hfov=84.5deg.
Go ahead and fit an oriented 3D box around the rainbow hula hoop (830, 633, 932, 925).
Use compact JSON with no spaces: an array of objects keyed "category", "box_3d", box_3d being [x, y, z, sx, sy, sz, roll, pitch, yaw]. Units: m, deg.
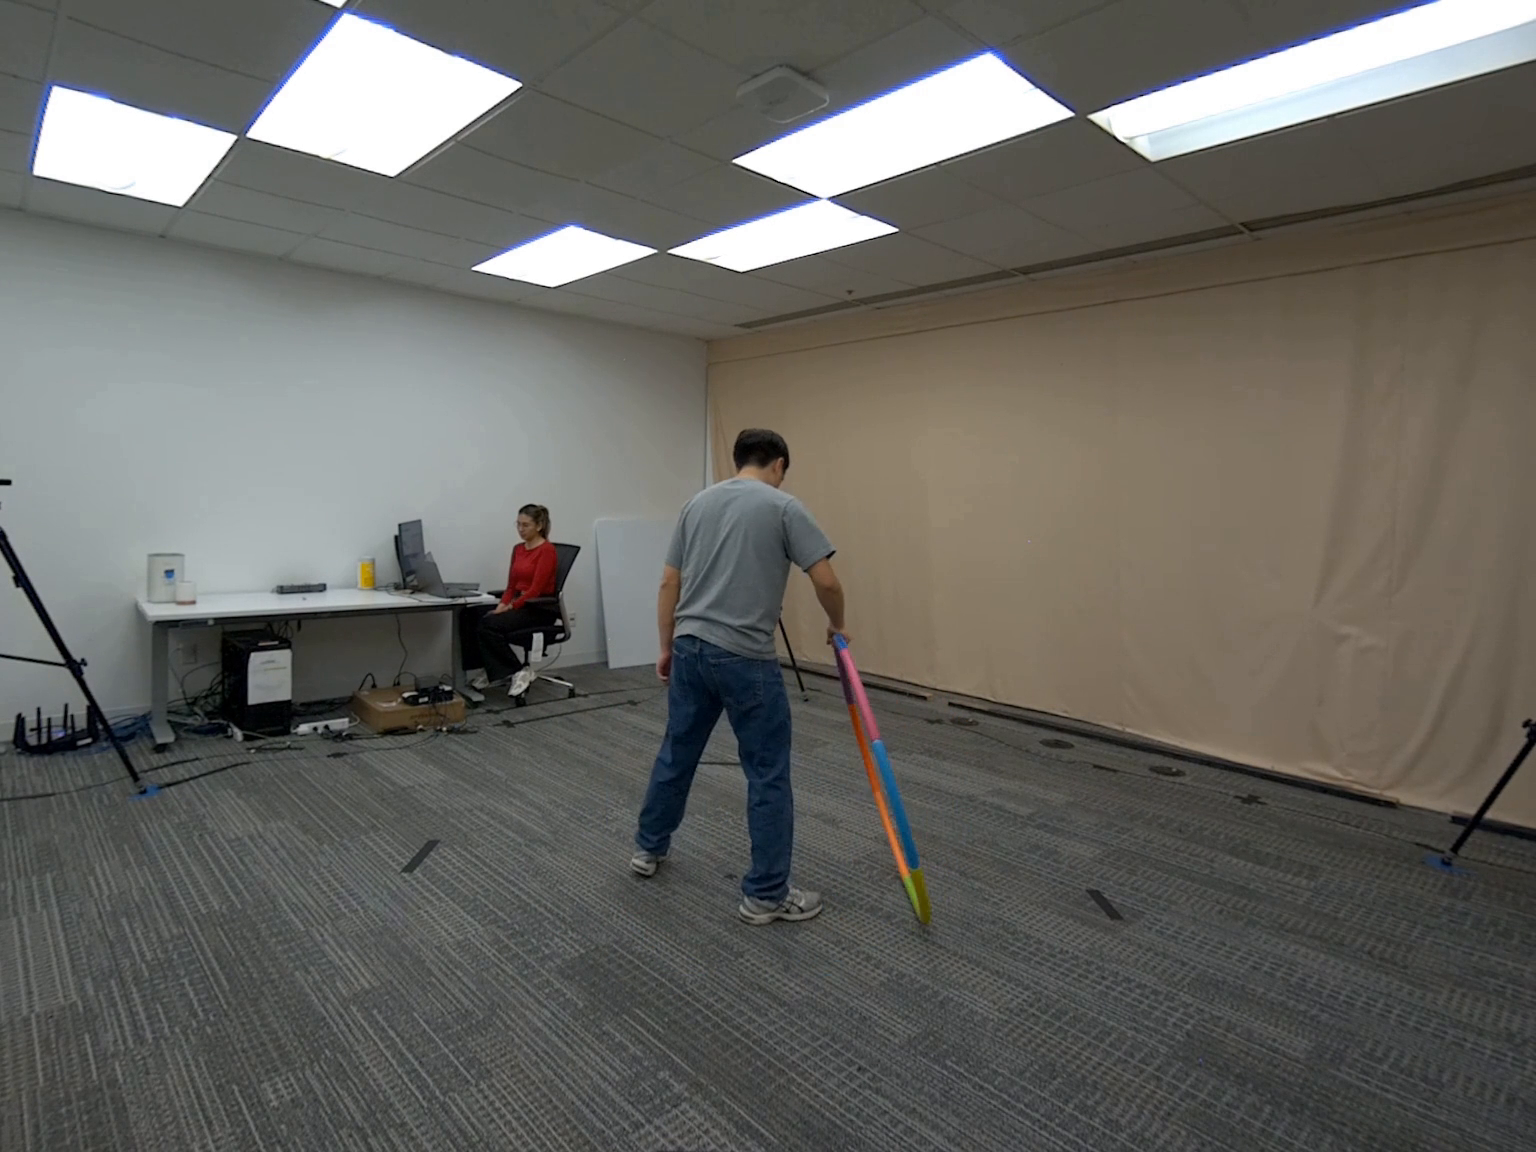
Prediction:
[{"category":"rainbow hula hoop","box_3d":[0.358,0.677,2.898,0.035,0.976,0.981,-17,4,1]}]
